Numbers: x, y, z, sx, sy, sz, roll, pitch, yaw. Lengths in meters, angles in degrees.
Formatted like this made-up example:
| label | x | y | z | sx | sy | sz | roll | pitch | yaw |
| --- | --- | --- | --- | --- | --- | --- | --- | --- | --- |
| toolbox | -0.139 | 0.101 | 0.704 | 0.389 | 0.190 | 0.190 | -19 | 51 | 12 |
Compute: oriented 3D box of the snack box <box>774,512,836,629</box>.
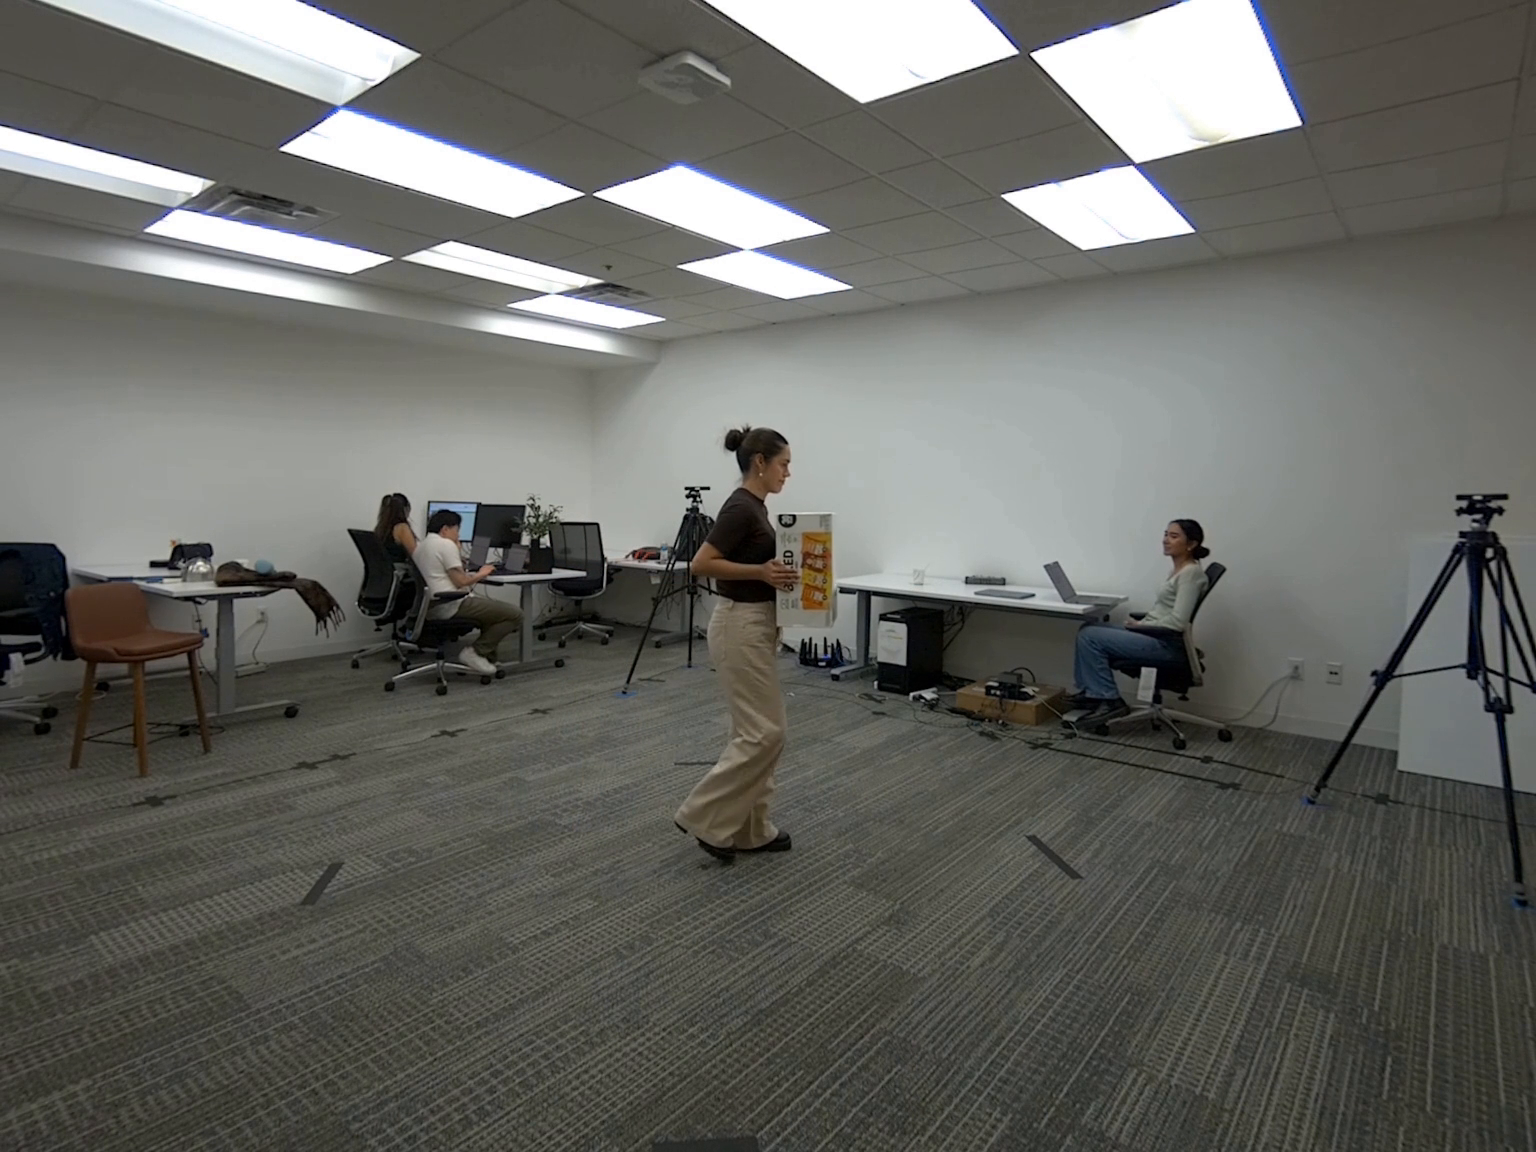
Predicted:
| label | x | y | z | sx | sy | sz | roll | pitch | yaw |
| --- | --- | --- | --- | --- | --- | --- | --- | --- | --- |
| snack box | 0.138 | -0.035 | 3.189 | 0.208 | 0.404 | 0.338 | 0 | 3 | 9 |
